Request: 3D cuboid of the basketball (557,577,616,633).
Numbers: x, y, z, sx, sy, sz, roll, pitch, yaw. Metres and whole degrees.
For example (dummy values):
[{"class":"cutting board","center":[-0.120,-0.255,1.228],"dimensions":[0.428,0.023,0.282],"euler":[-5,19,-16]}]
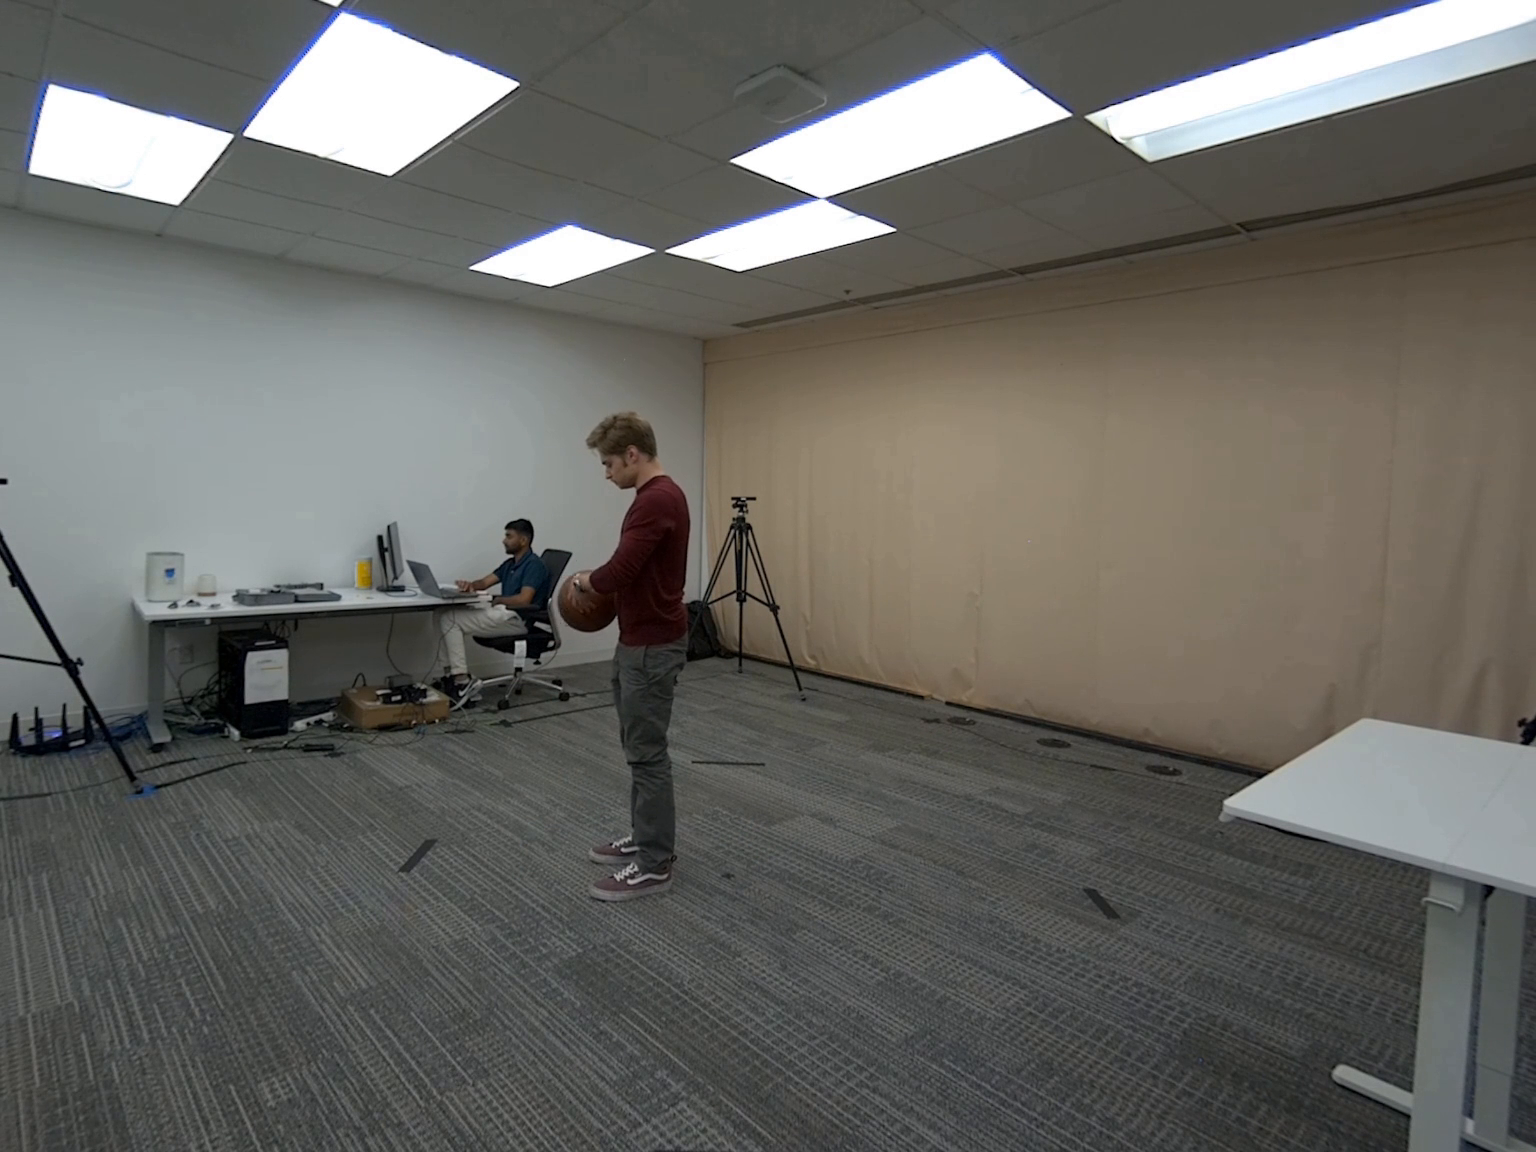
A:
[{"class":"basketball","center":[-0.686,0.095,3.218],"dimensions":[0.236,0.235,0.237],"euler":[1,4,-1]}]
